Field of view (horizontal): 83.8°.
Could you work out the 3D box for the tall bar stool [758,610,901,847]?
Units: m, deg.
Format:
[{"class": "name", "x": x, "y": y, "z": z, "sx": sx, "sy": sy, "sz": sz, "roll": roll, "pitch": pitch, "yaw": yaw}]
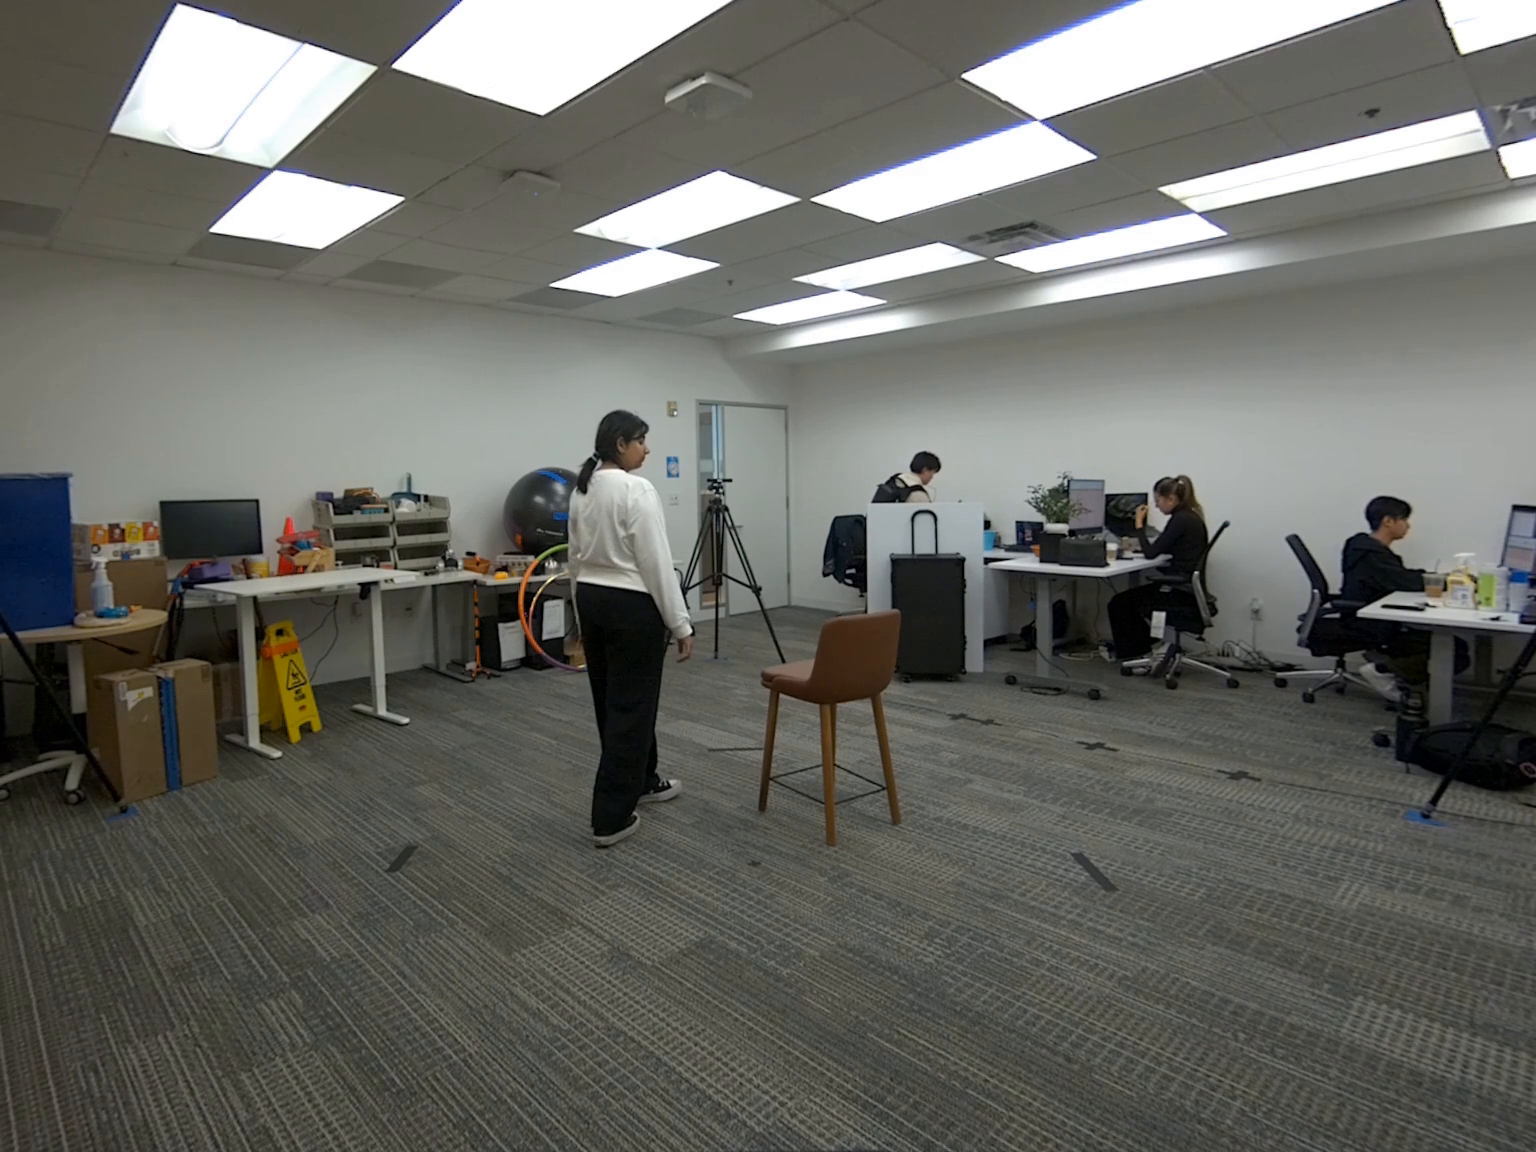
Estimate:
[{"class": "tall bar stool", "x": 0.249, "y": 0.560, "z": 3.499, "sx": 0.445, "sy": 0.885, "sz": 0.482, "roll": -4, "pitch": 7, "yaw": -36}]
